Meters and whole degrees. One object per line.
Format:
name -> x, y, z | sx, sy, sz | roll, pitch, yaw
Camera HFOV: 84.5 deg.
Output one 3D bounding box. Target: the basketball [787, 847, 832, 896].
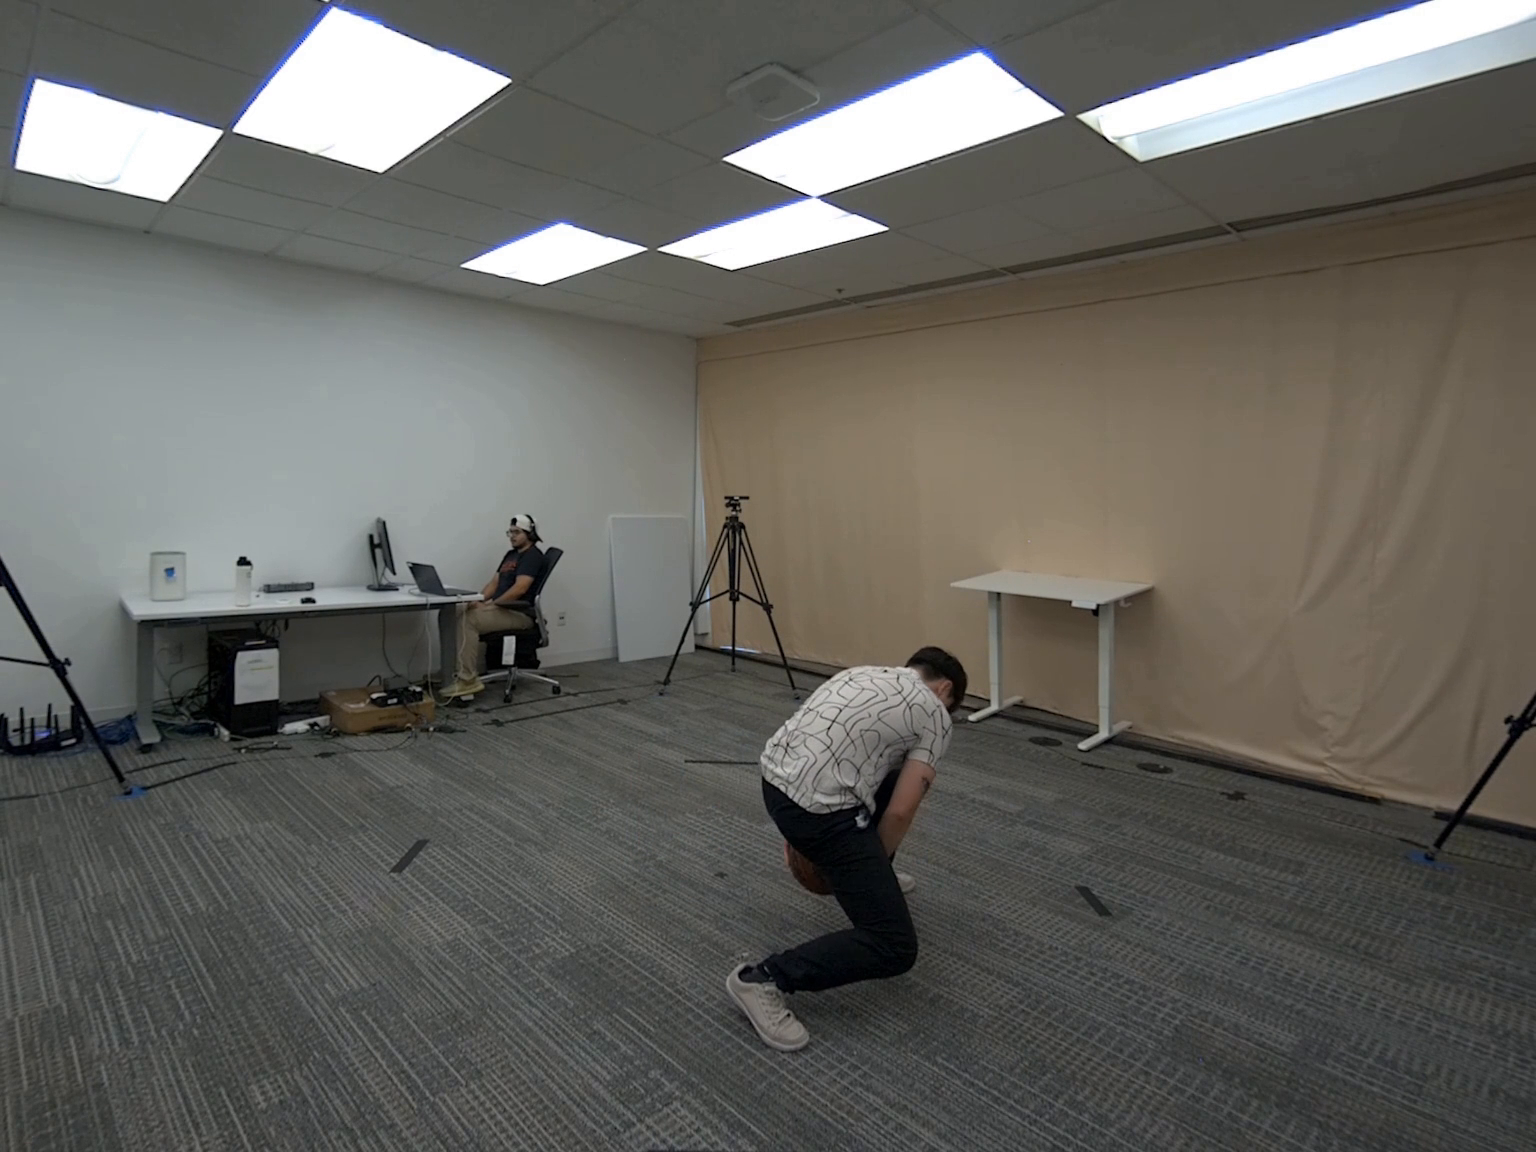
basketball -> 0.190, 0.913, 2.767 | 0.236, 0.235, 0.237 | 1, 4, -1
